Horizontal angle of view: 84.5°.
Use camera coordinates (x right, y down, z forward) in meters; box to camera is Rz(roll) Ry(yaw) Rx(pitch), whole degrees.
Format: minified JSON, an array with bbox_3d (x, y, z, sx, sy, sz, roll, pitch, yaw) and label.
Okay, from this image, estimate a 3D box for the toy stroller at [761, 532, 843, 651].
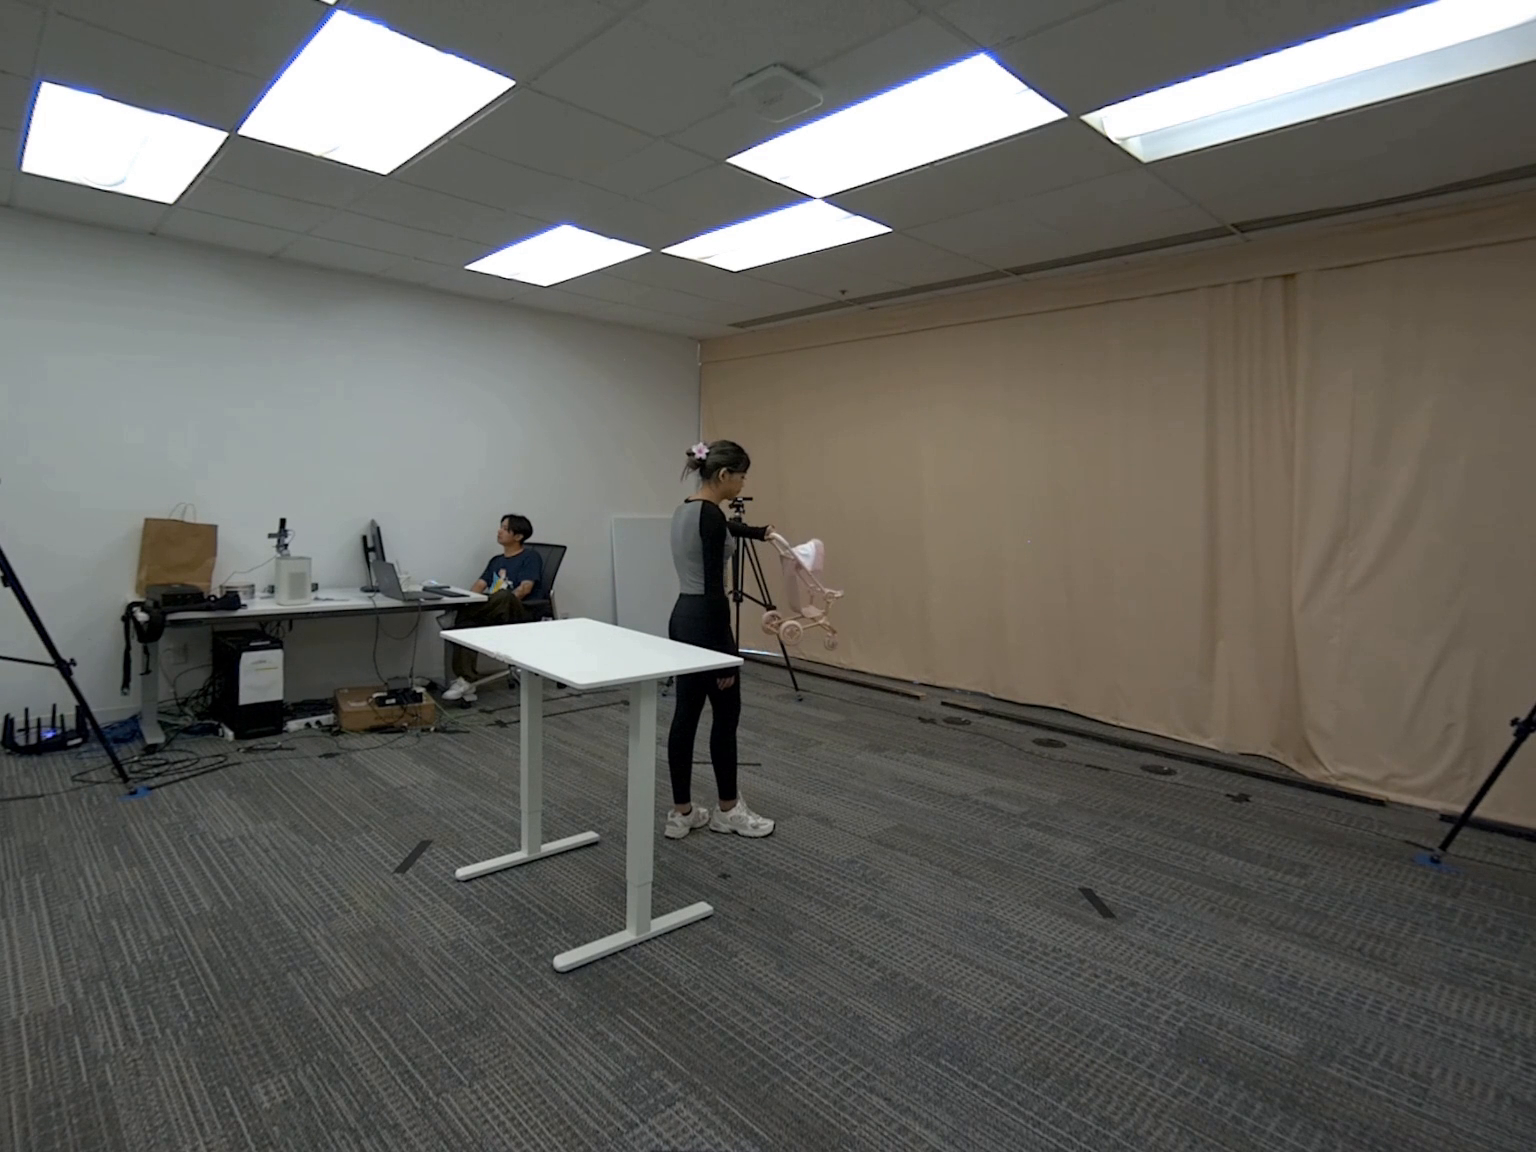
[{"bbox_3d":[0.158,0.073,3.733,0.338,0.533,0.285,-2,5,-13],"label":"toy stroller"}]
